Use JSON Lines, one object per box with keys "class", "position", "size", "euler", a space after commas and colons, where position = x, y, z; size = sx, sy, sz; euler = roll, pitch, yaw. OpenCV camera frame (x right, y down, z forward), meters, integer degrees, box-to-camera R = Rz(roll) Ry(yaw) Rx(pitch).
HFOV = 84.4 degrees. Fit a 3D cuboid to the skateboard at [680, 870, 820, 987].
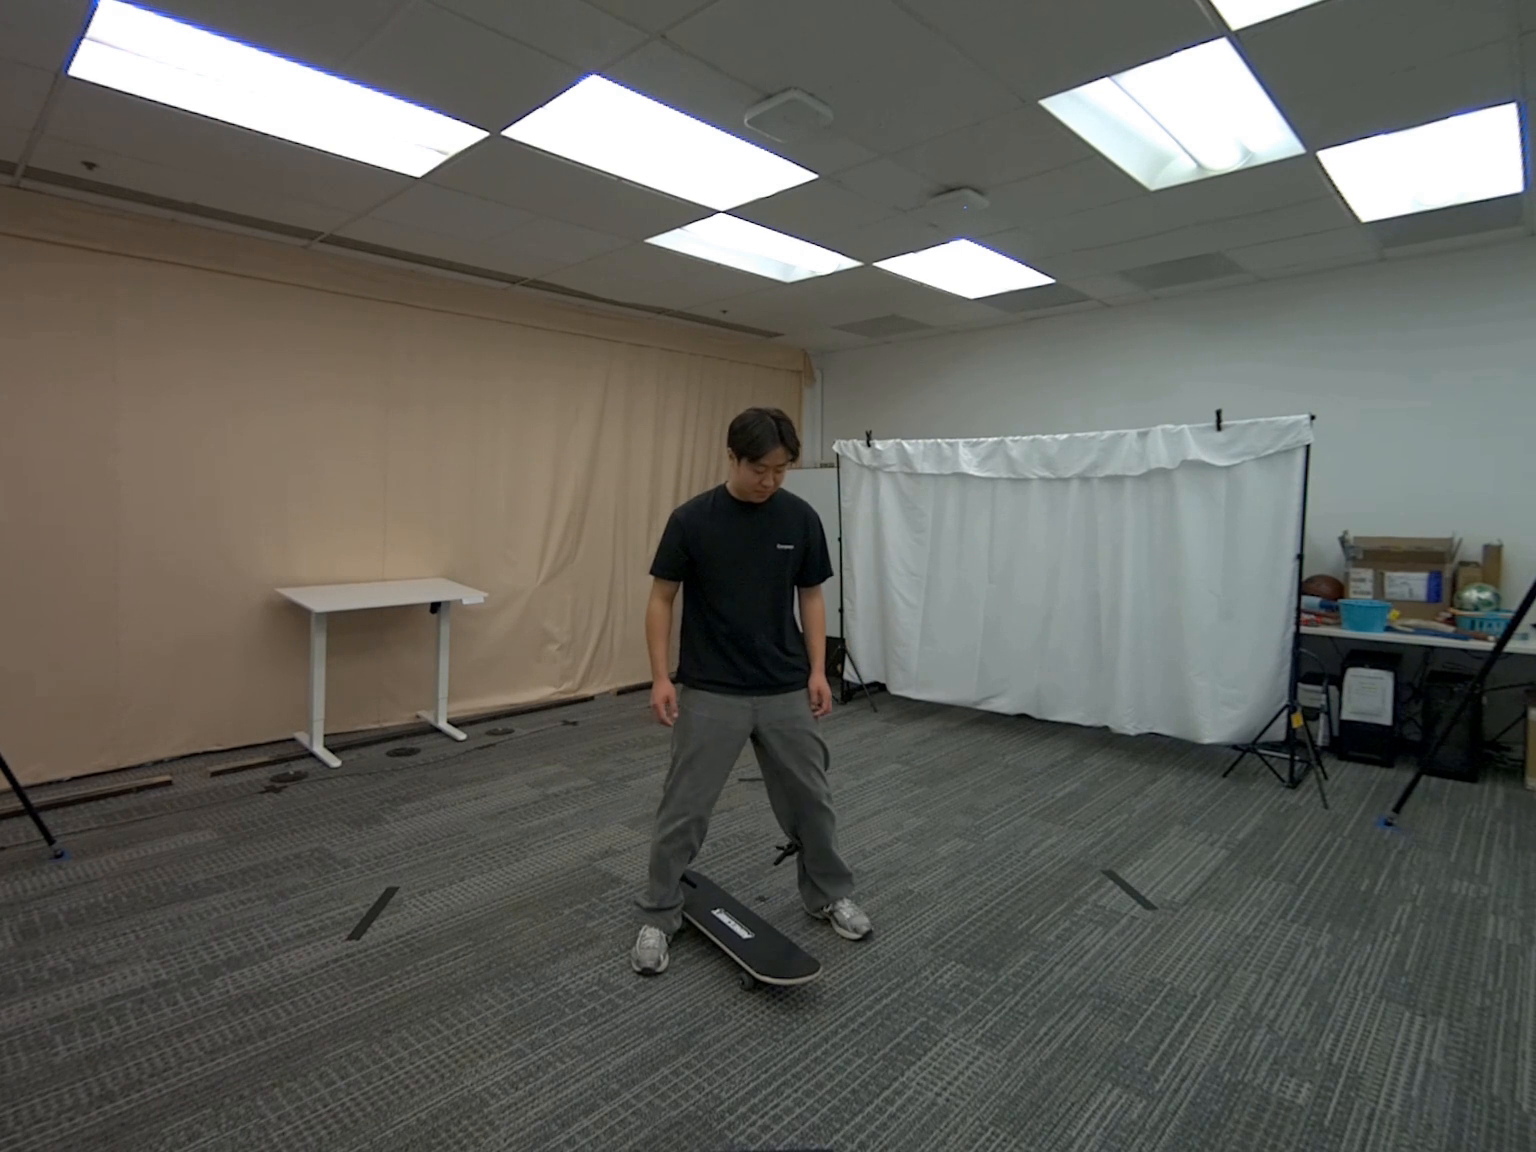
{"class": "skateboard", "position": [-0.111, 1.113, 2.632], "size": [0.188, 0.110, 0.810], "euler": [-4, 6, -33]}
